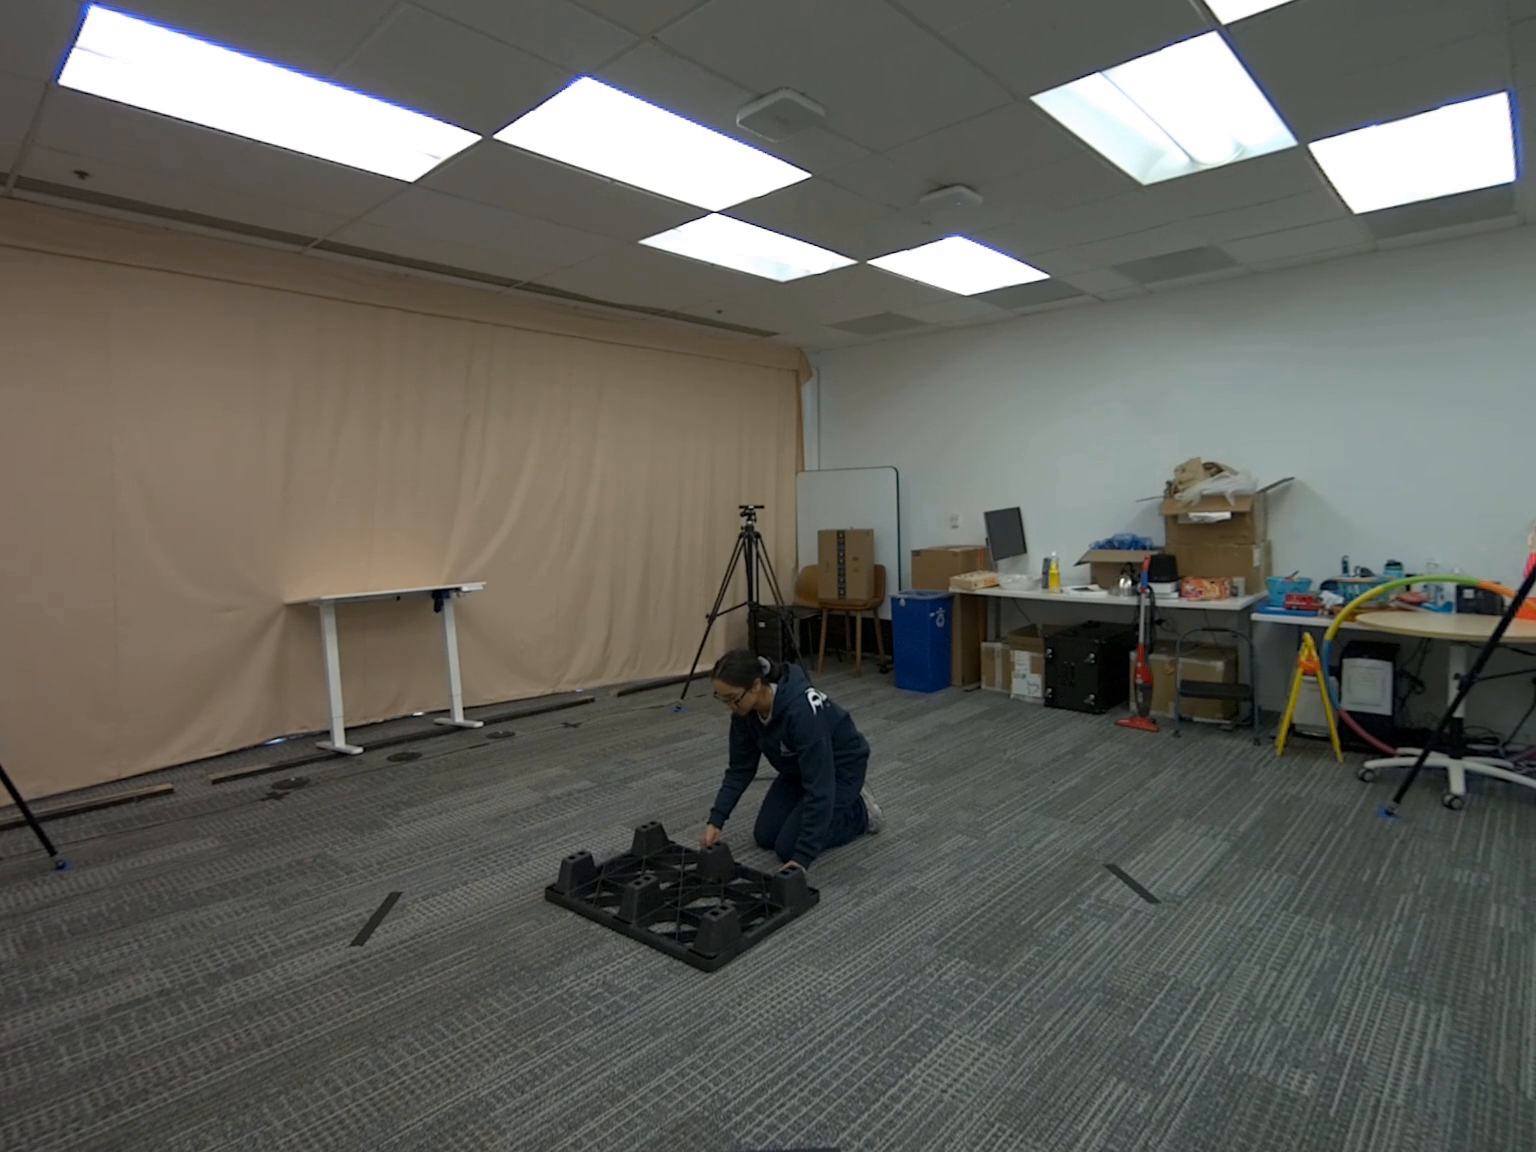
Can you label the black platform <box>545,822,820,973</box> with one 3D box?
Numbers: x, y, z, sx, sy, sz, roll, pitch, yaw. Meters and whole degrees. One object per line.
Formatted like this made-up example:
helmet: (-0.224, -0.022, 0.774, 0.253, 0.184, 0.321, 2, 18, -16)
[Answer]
black platform: (-0.305, 1.082, 2.979, 0.832, 0.143, 0.587, 3, 7, 39)
